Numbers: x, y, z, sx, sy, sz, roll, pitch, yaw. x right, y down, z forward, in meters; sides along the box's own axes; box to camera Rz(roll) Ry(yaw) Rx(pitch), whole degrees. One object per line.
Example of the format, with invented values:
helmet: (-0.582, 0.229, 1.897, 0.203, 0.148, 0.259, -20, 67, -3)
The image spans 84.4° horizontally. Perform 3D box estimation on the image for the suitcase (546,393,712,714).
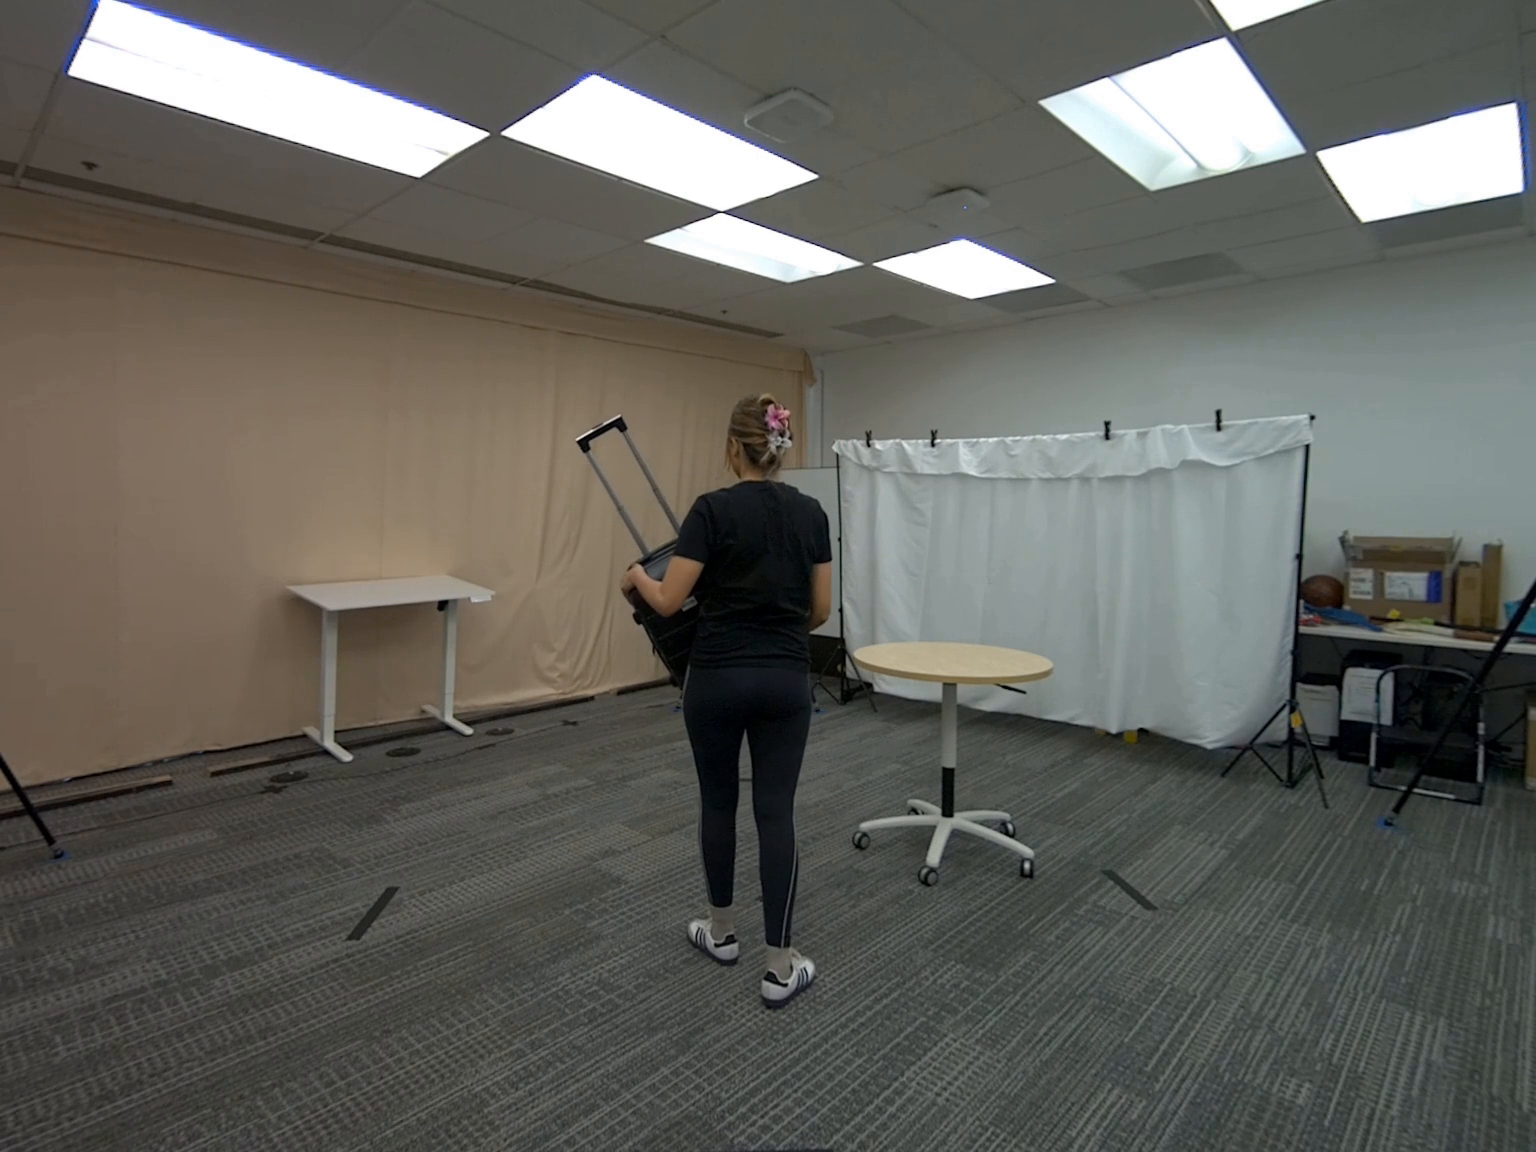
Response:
suitcase: (-0.292, -0.033, 2.680, 0.383, 0.956, 0.263, -26, 25, -3)
